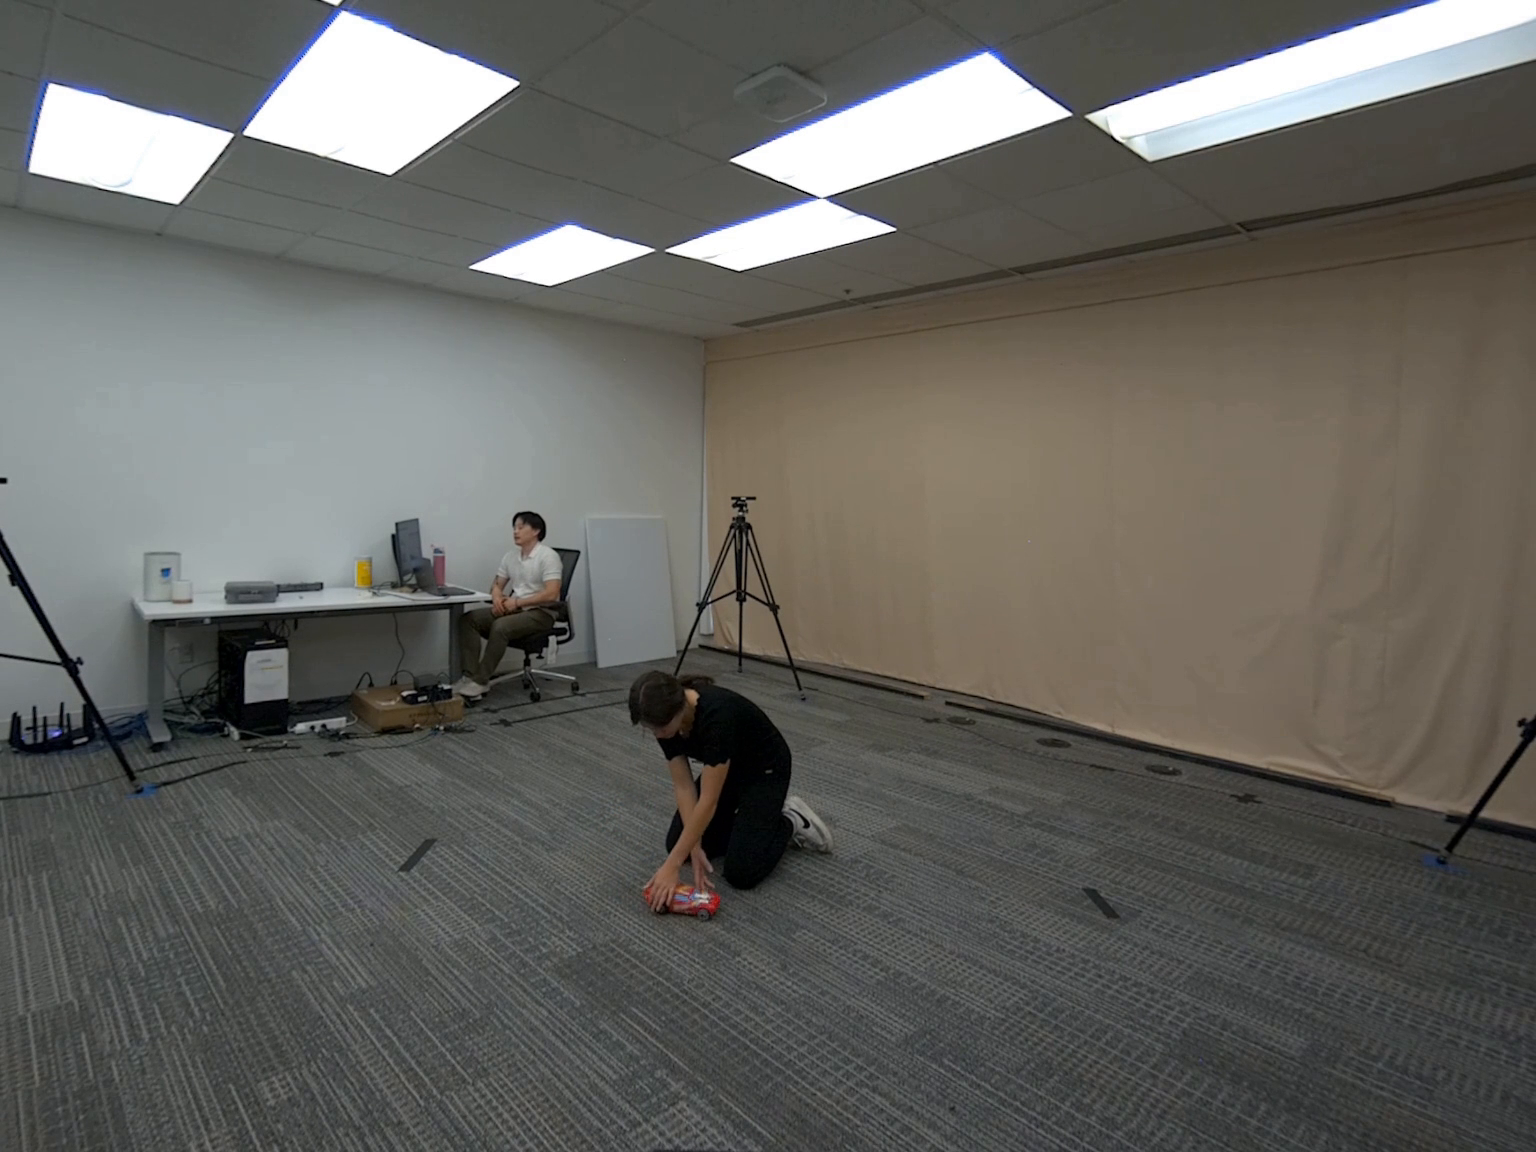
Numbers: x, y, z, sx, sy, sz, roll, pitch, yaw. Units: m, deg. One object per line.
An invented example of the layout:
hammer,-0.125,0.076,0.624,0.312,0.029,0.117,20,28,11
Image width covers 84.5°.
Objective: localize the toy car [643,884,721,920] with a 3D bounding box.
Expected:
toy car,-0.309,1.097,2.840,0.257,0.083,0.129,15,6,12
